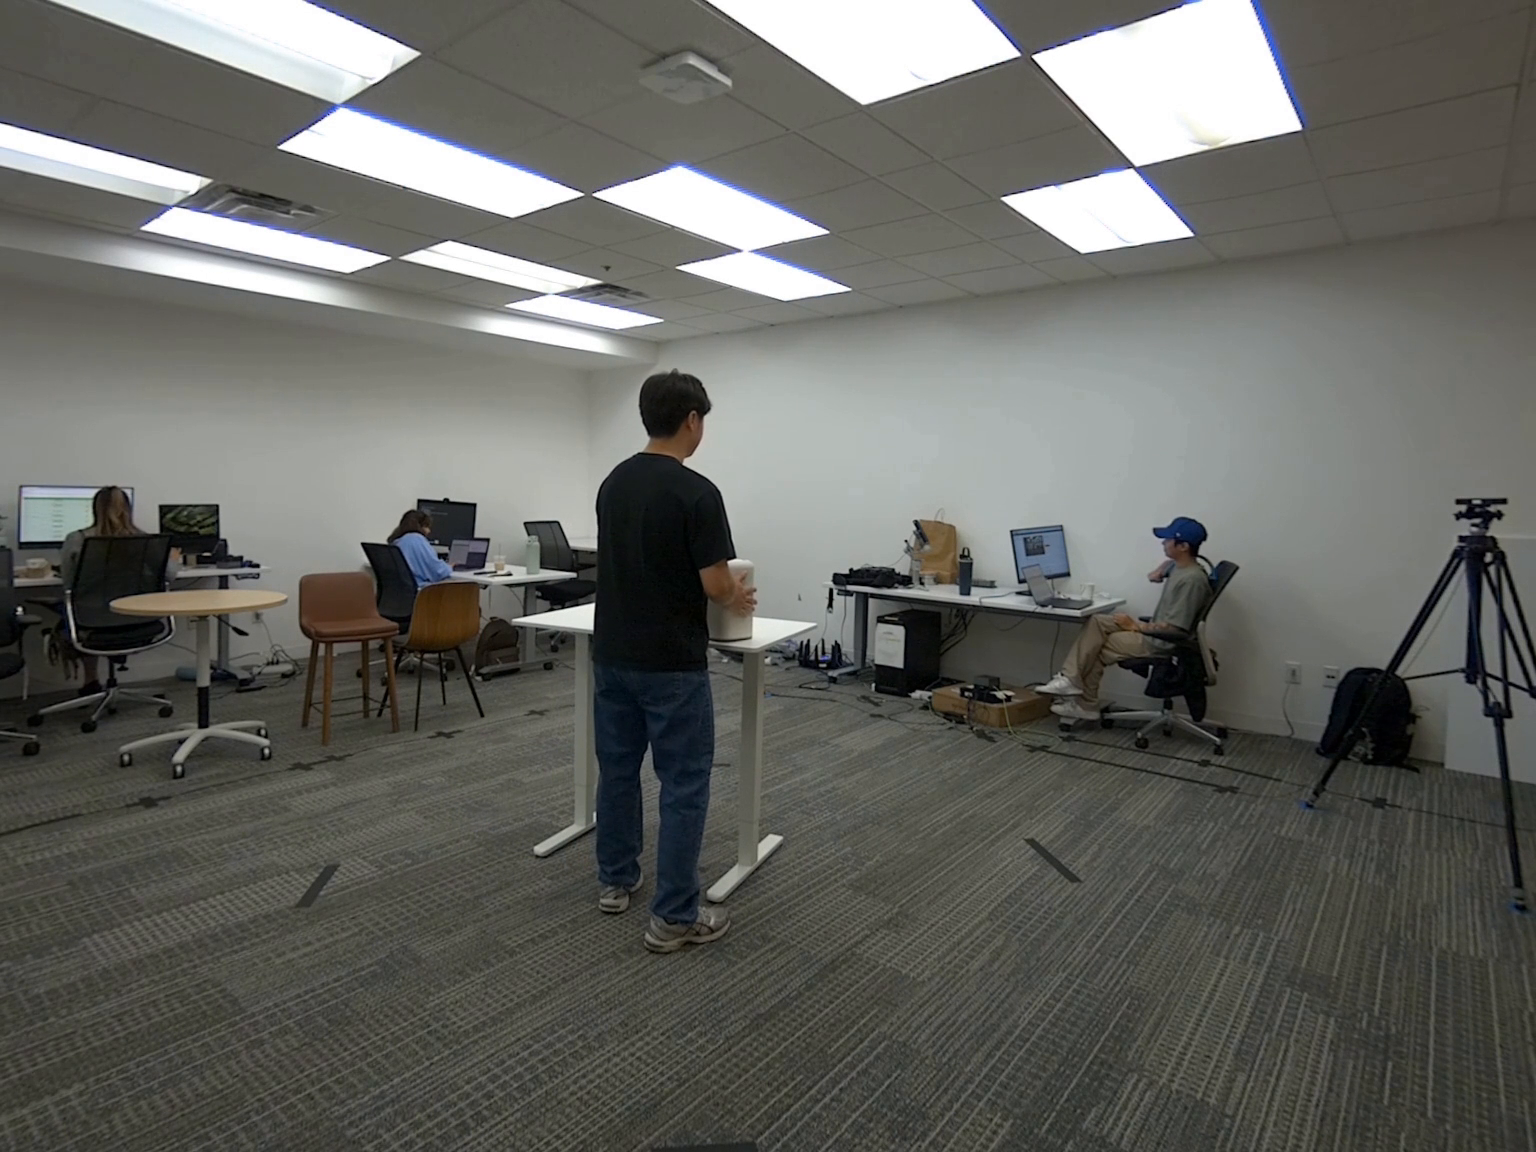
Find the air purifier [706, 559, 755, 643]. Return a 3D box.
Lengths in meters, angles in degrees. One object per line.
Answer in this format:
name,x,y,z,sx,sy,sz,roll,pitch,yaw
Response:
air purifier,-0.161,0.071,2.920,0.177,0.264,0.166,4,4,39
